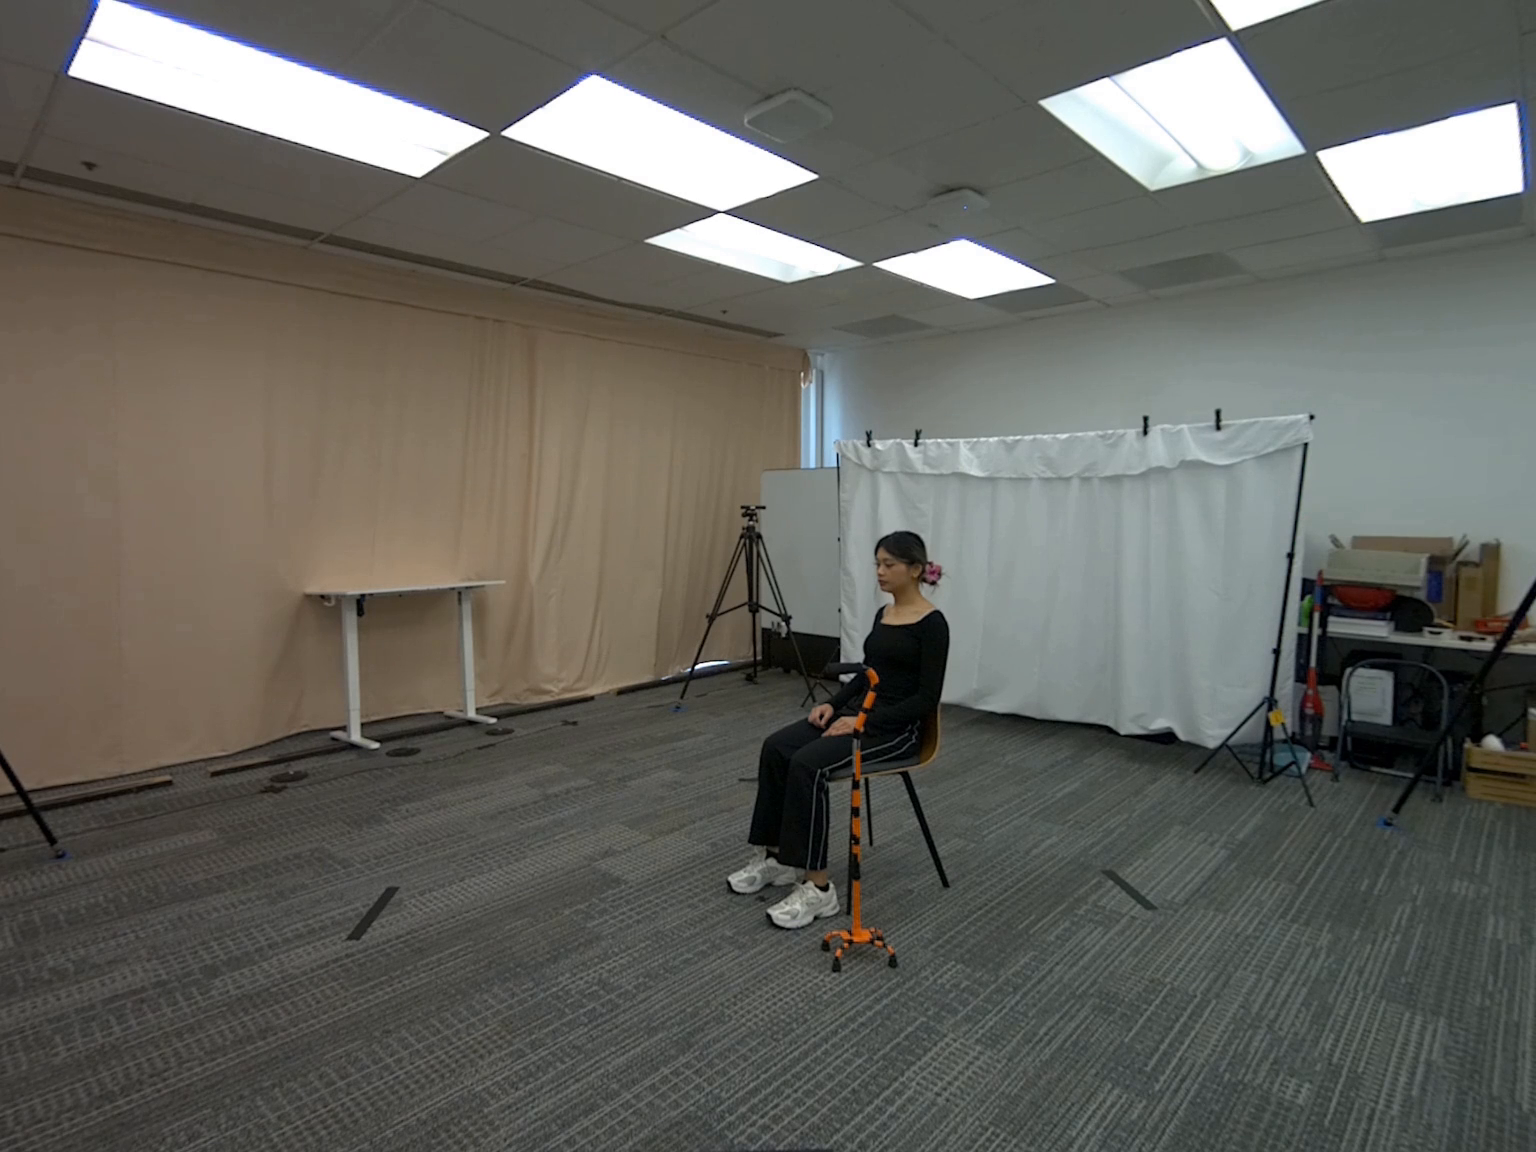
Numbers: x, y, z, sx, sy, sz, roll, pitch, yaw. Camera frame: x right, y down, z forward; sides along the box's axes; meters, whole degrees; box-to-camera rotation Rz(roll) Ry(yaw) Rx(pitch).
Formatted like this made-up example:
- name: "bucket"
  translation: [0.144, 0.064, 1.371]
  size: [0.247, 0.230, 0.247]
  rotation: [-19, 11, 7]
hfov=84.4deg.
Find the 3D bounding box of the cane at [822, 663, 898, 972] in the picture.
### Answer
- name: "cane"
  translation: [0.281, 0.719, 2.580]
  size: [0.204, 0.906, 0.153]
  rotation: [-1, 3, -10]
